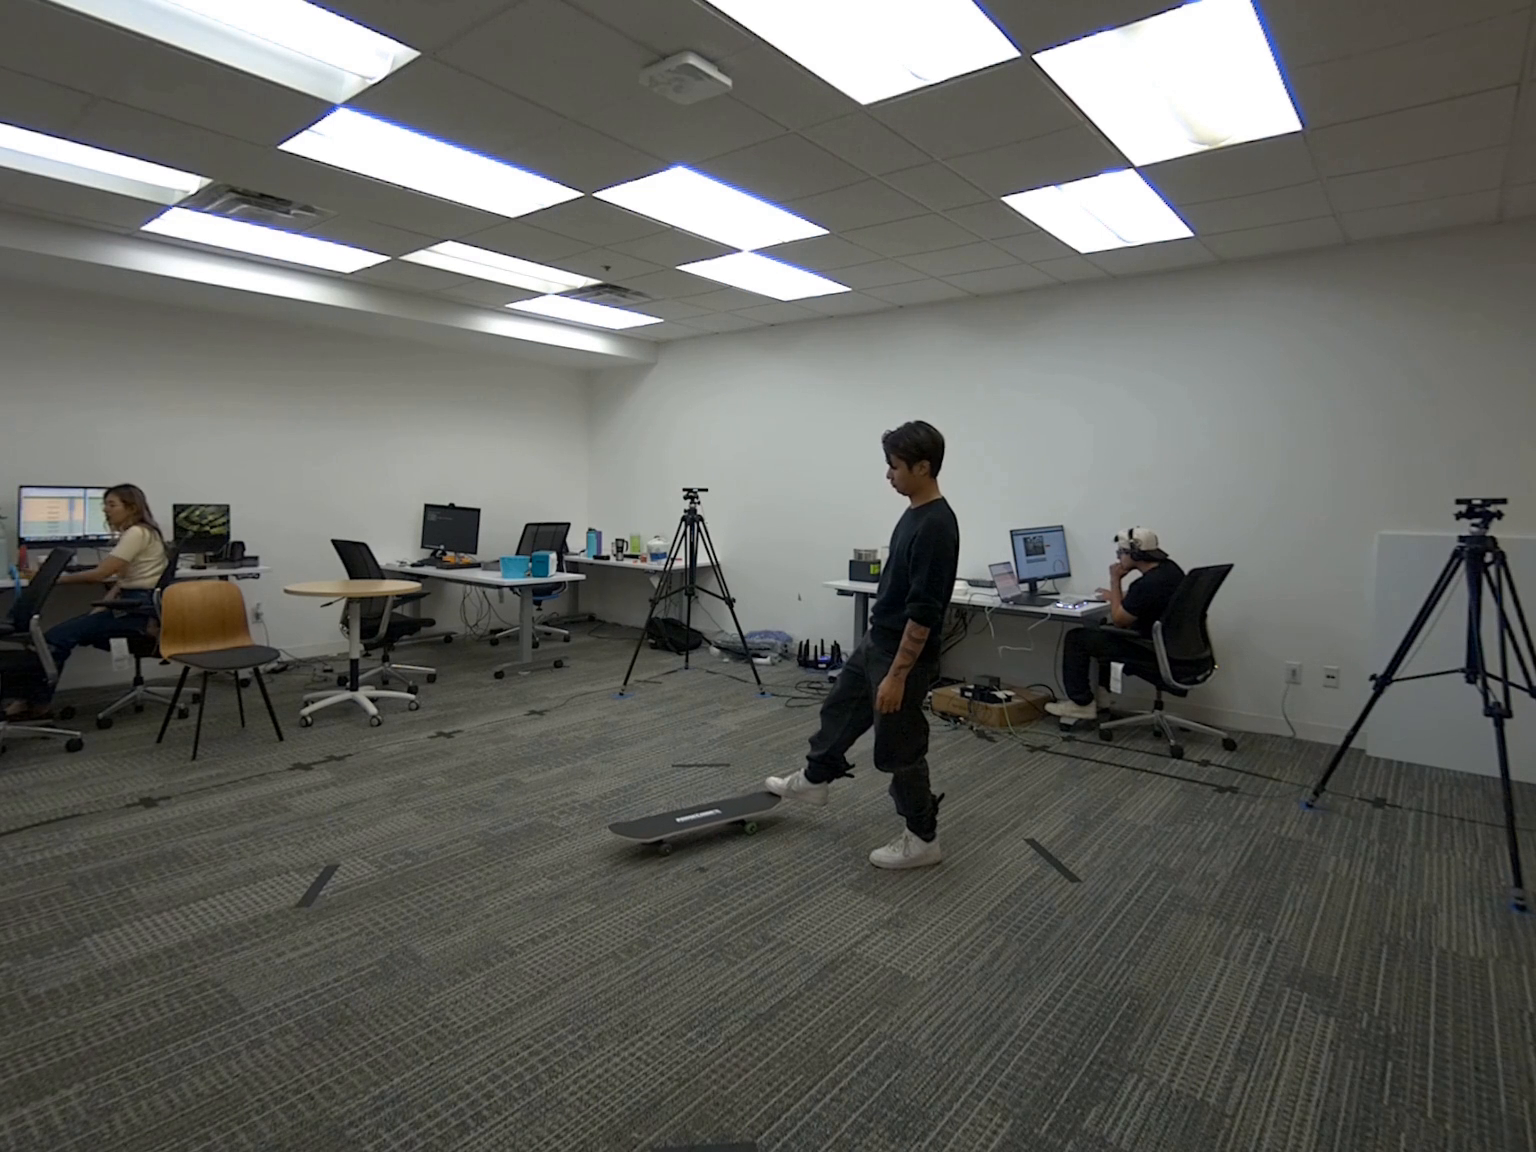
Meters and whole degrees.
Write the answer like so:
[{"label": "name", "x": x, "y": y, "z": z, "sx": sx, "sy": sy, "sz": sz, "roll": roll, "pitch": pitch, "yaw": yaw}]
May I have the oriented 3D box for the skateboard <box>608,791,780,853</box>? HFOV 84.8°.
[{"label": "skateboard", "x": -0.285, "y": 0.988, "z": 3.397, "sx": 0.763, "sy": 0.110, "sz": 0.200, "roll": -3, "pitch": 6, "yaw": -33}]
